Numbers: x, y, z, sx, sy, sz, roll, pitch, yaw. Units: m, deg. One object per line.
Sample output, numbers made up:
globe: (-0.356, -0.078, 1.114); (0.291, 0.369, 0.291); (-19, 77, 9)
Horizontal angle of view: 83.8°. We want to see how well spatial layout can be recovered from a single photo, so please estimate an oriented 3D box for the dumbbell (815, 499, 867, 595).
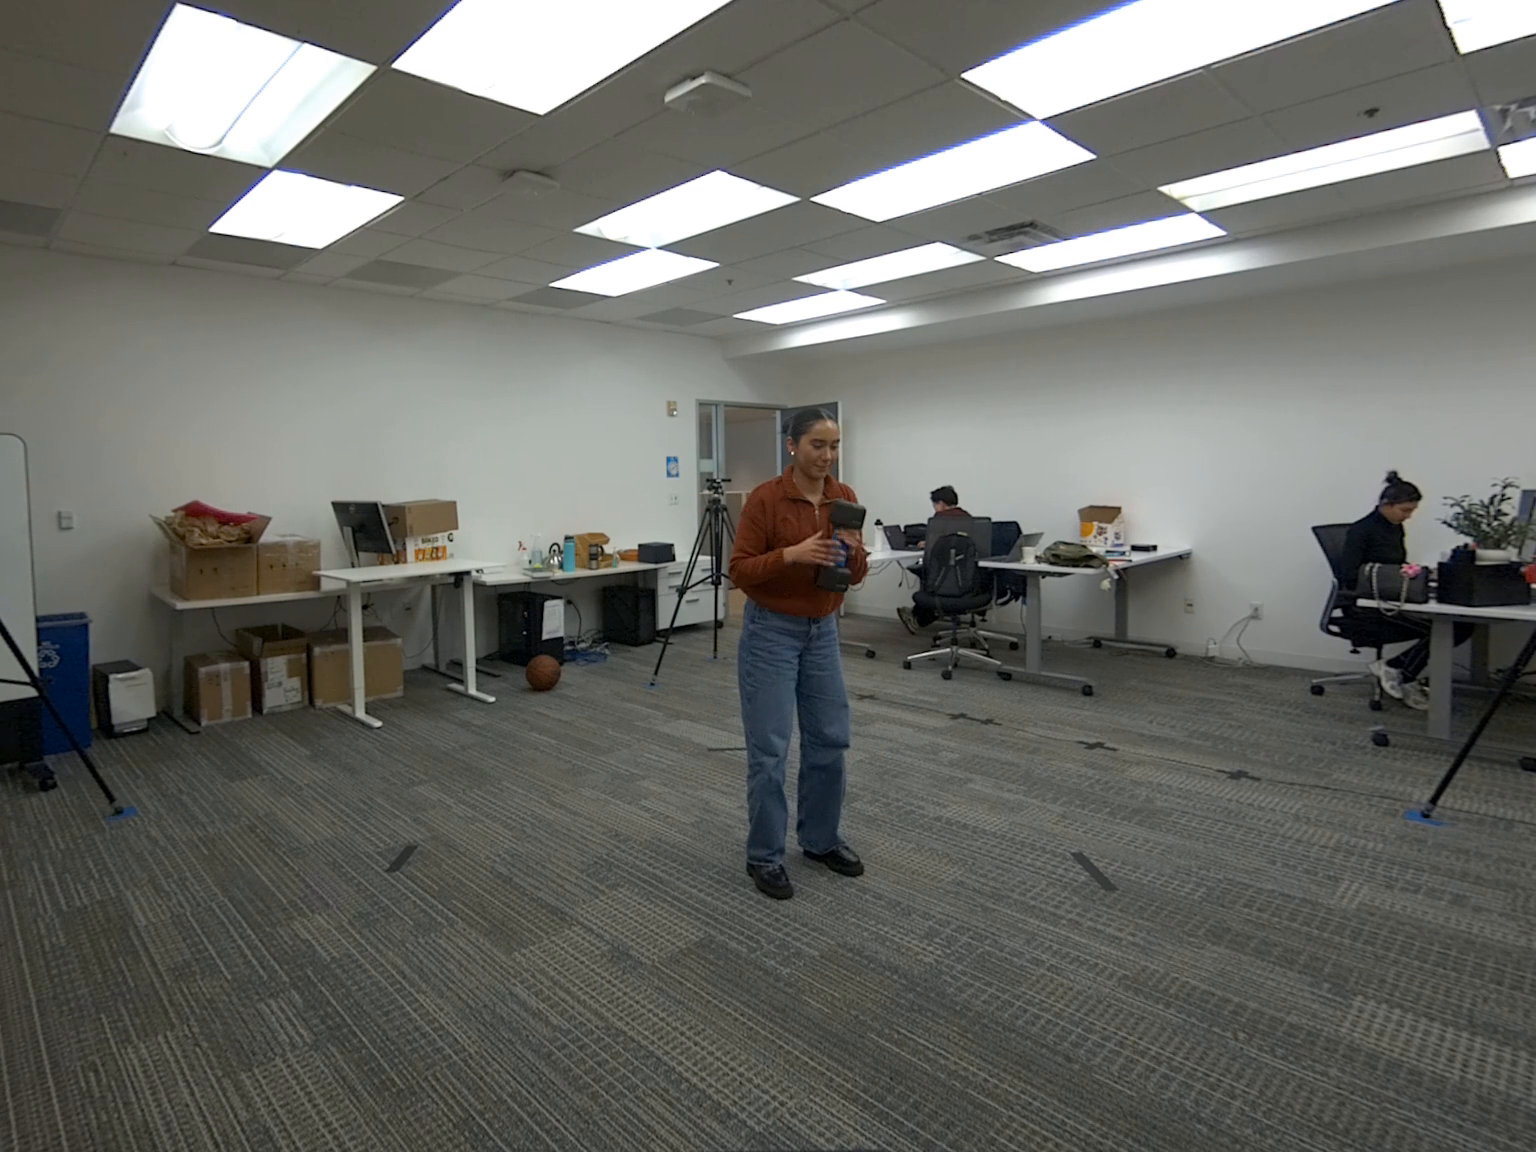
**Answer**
dumbbell: (0.229, -0.080, 2.797); (0.119, 0.293, 0.112); (11, 5, -38)
